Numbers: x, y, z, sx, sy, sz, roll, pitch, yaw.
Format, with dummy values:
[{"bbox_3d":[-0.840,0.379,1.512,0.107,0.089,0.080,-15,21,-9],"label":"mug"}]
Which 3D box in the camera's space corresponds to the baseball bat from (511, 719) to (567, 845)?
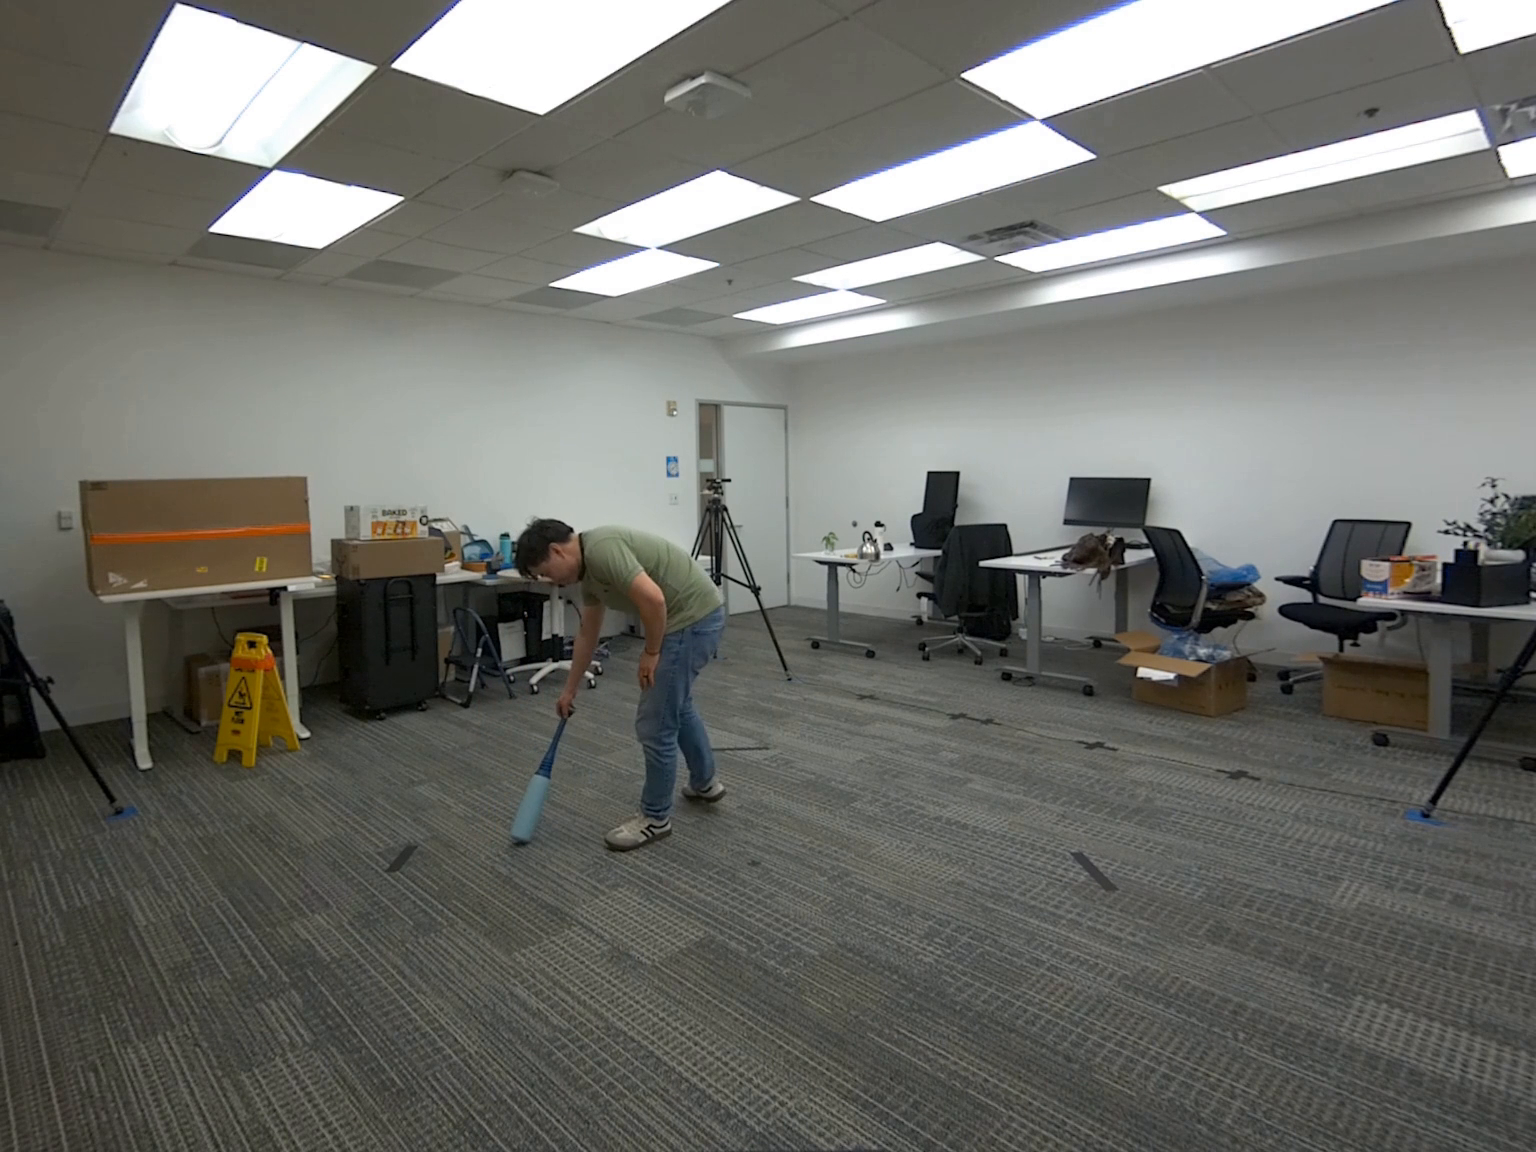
[{"bbox_3d":[-0.900,0.791,3.421,0.090,0.550,0.087,14,-26,5],"label":"baseball bat"}]
